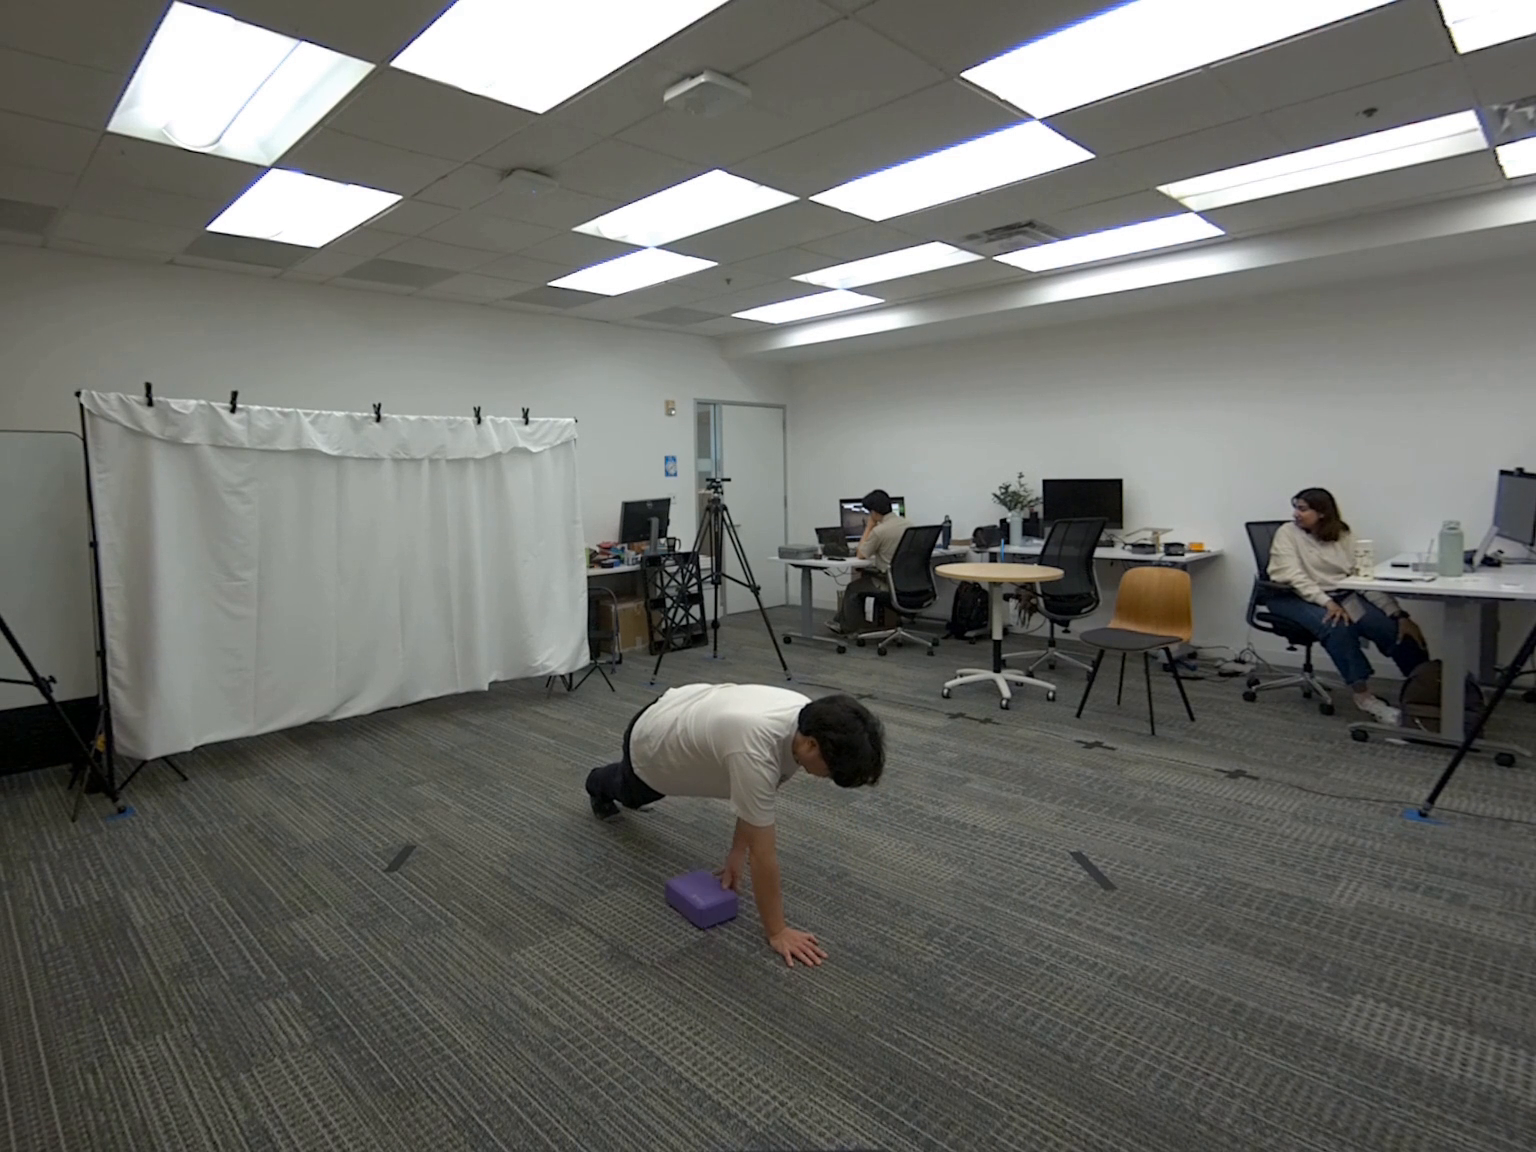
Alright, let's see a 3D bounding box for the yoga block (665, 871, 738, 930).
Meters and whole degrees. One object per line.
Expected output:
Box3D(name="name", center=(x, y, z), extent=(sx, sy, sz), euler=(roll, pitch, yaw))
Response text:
Box3D(name="yoga block", center=(-0.207, 1.044, 2.776), extent=(0.145, 0.076, 0.236), euler=(-5, 8, -35))
